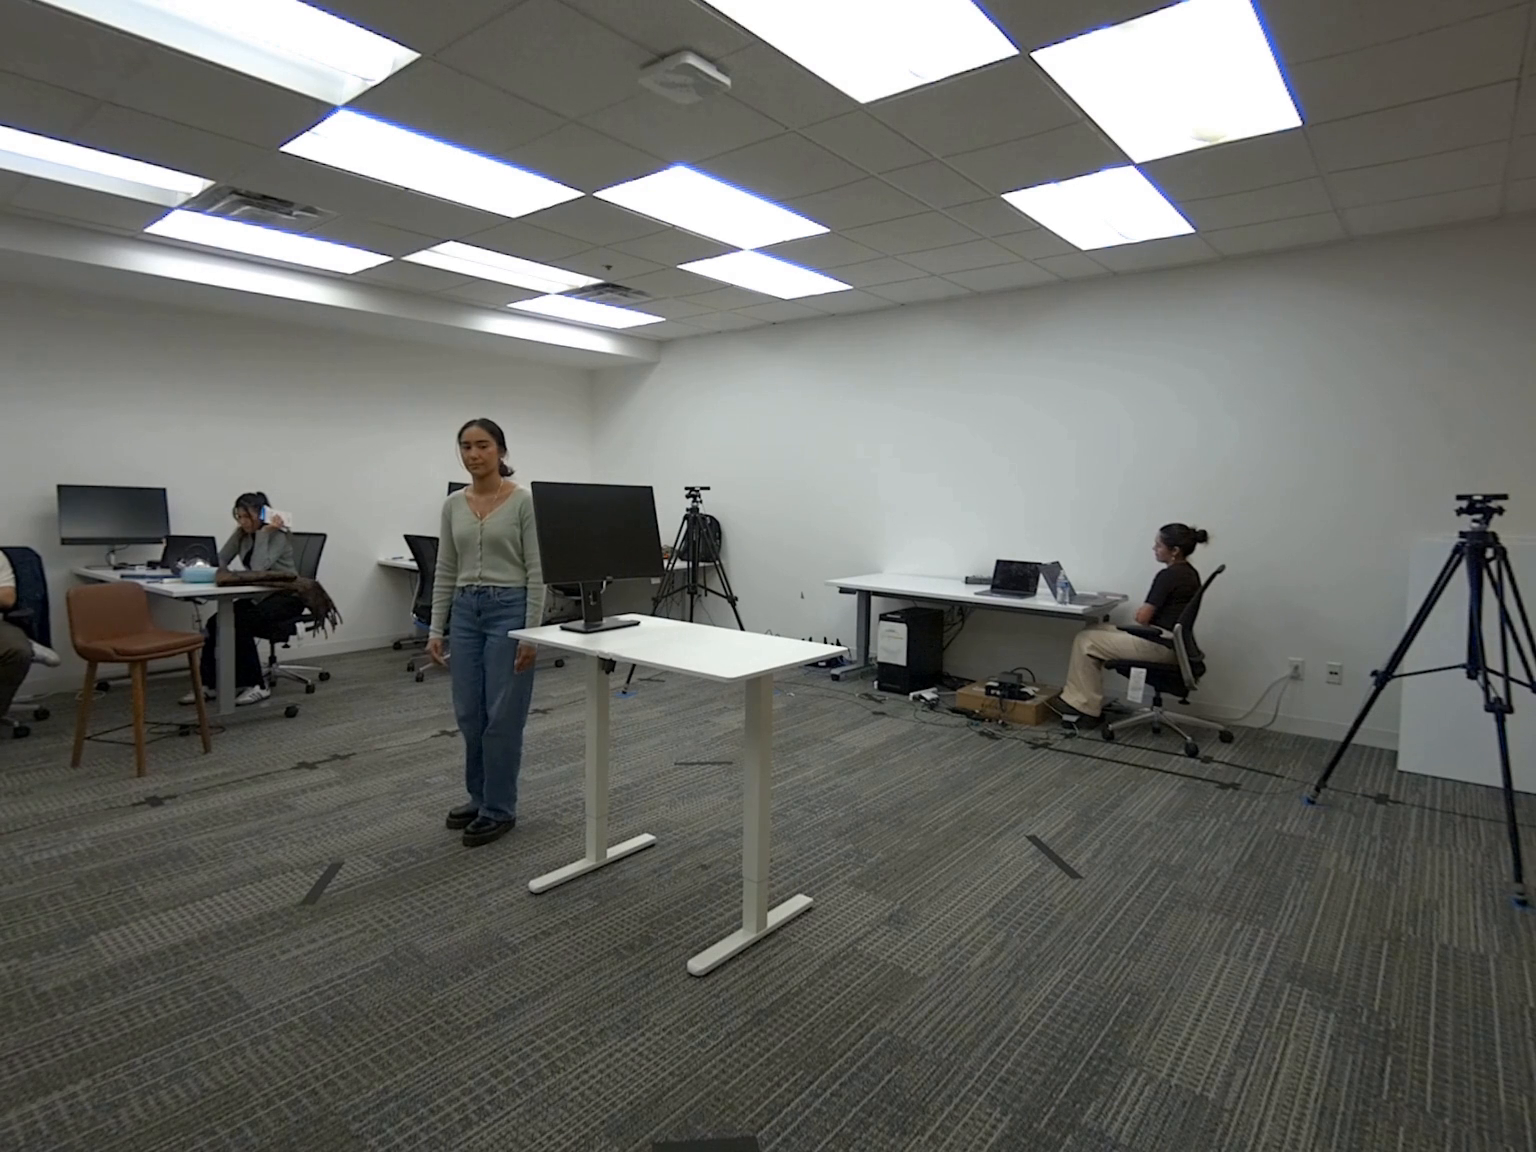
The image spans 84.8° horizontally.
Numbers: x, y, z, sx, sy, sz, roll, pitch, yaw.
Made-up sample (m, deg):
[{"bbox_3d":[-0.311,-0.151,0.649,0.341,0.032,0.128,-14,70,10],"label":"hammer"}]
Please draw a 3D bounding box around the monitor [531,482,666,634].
[{"bbox_3d":[-0.635,-0.070,3.048,0.193,0.522,0.523,1,3,40],"label":"monitor"}]
